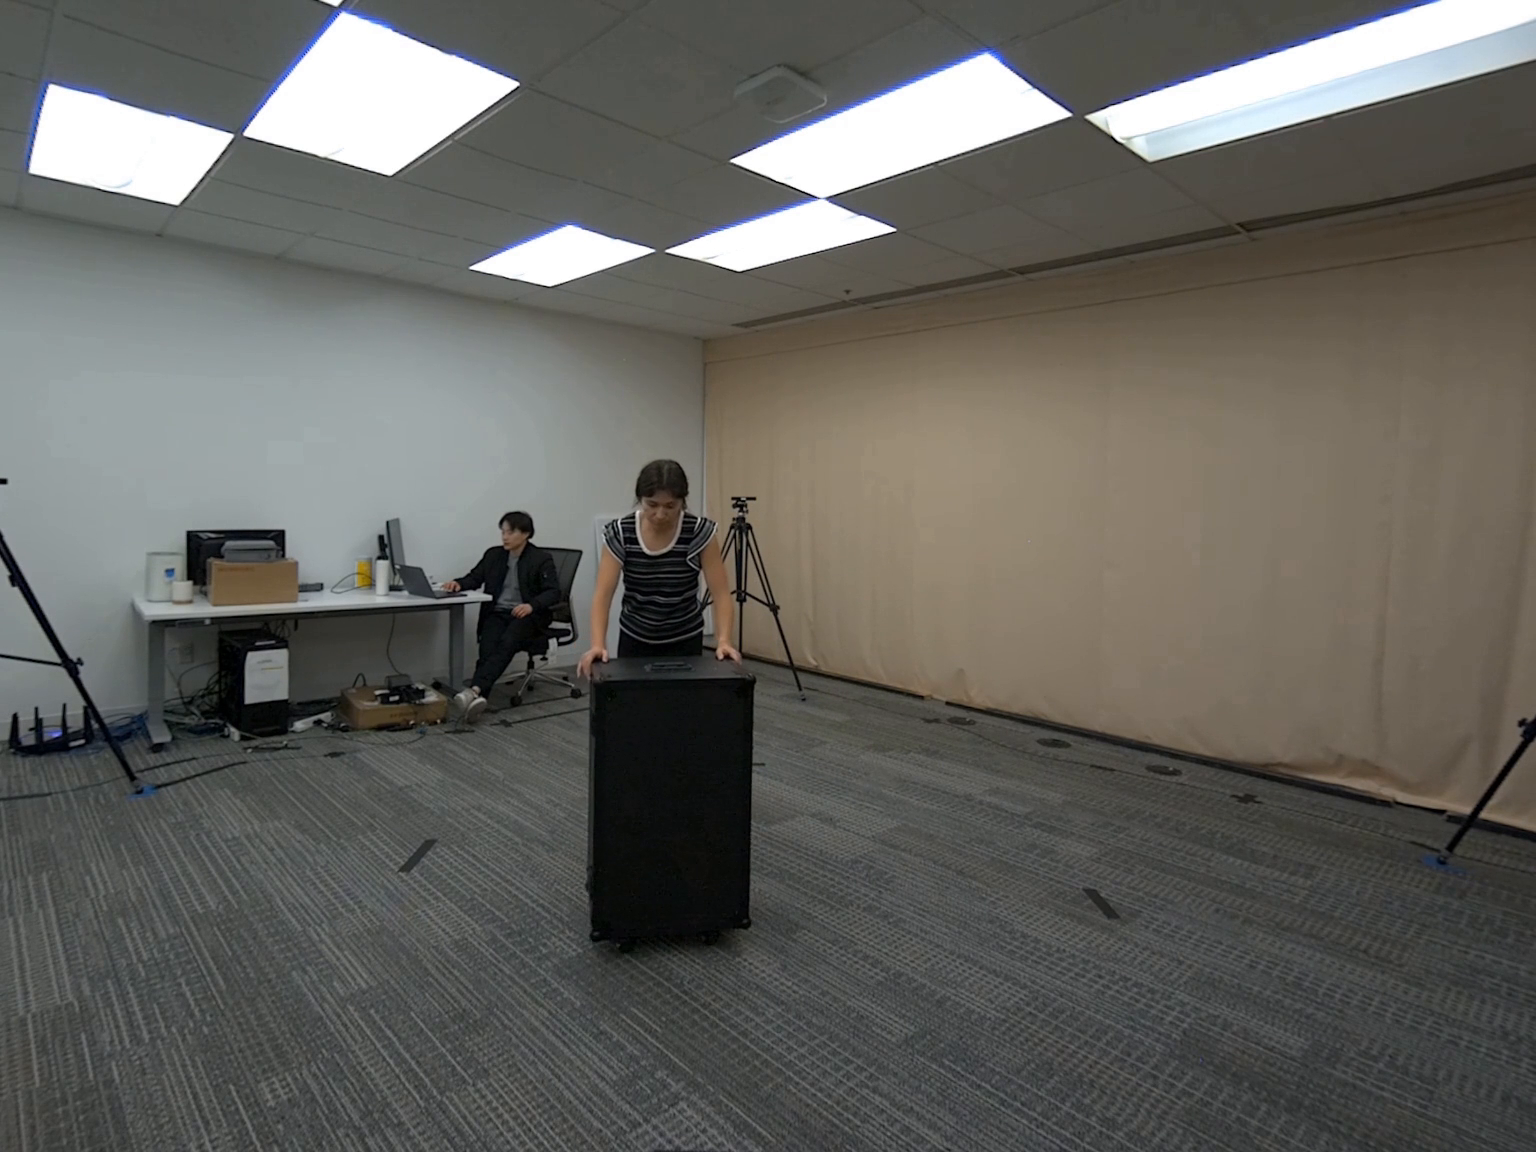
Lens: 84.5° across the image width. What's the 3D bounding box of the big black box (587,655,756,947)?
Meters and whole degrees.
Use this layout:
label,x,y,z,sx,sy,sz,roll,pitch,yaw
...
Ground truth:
label,x,y,z,sx,sy,sz,roll,pitch,yaw
big black box,-0.338,0.716,2.700,0.516,0.860,0.401,0,3,-13
